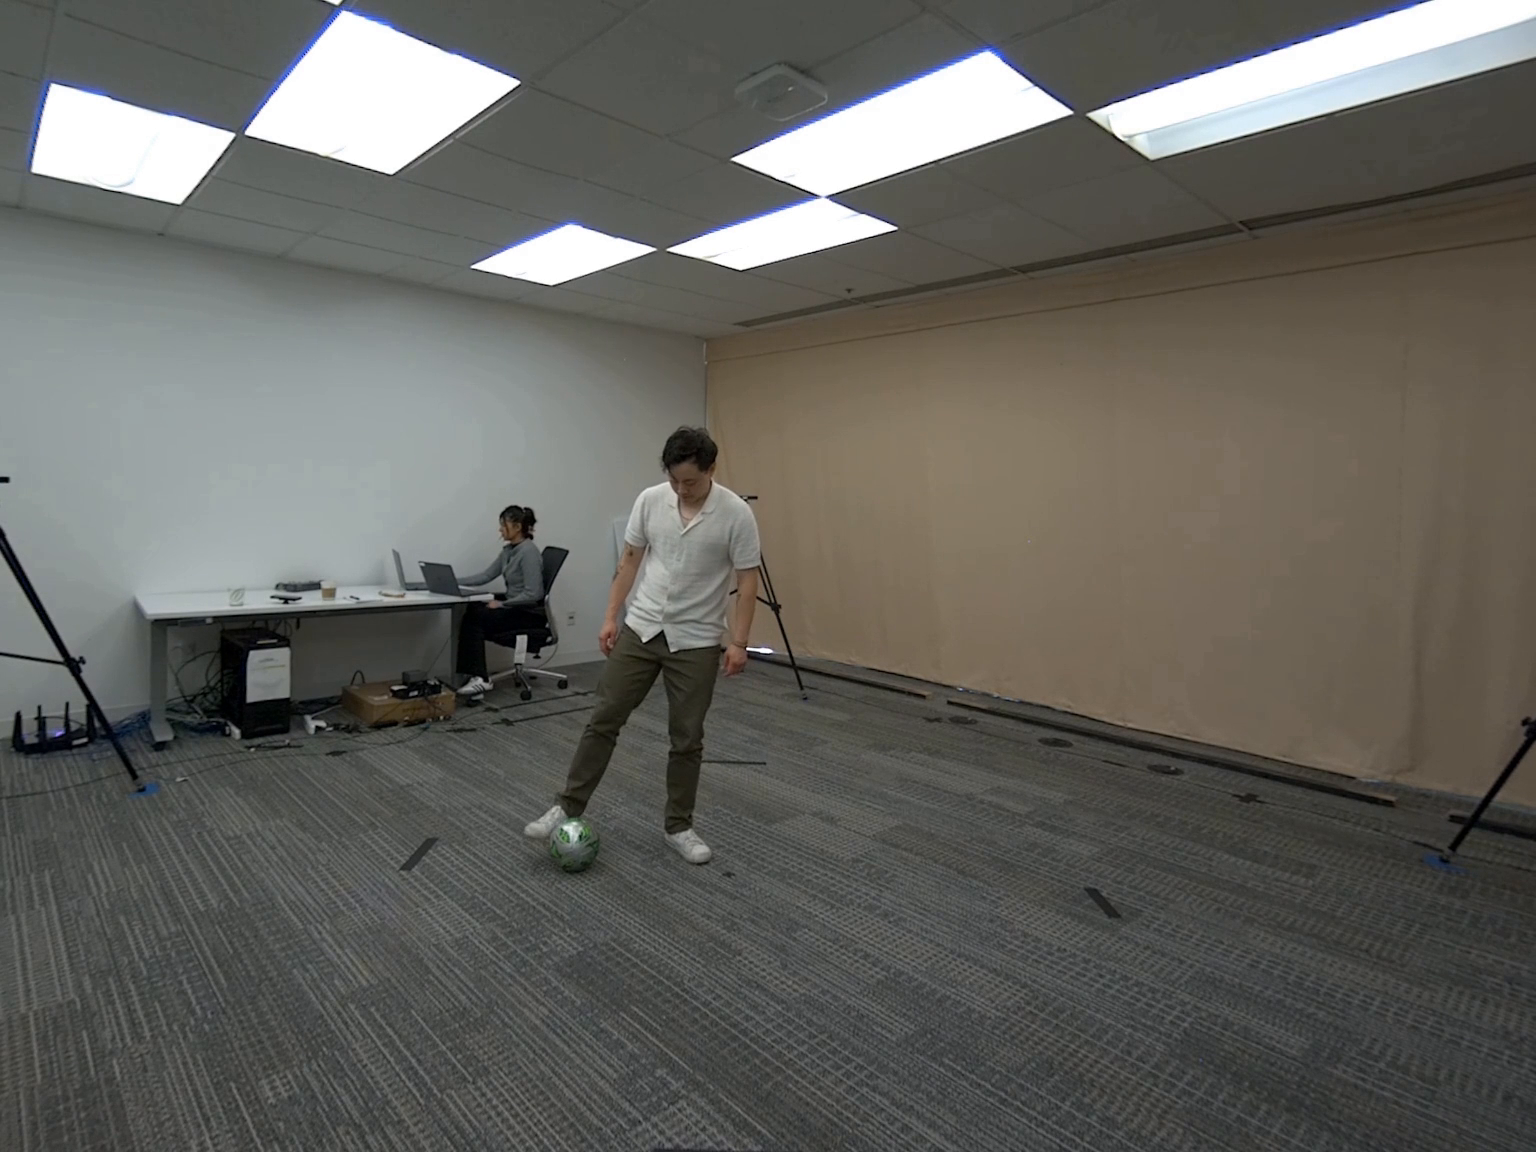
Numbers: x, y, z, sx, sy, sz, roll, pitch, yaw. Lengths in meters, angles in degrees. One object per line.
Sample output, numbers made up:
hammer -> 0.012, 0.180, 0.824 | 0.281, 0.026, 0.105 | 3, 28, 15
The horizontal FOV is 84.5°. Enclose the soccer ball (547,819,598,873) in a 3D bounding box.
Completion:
soccer ball -> -0.710, 0.996, 3.112 | 0.187, 0.187, 0.188 | 1, 4, -1
